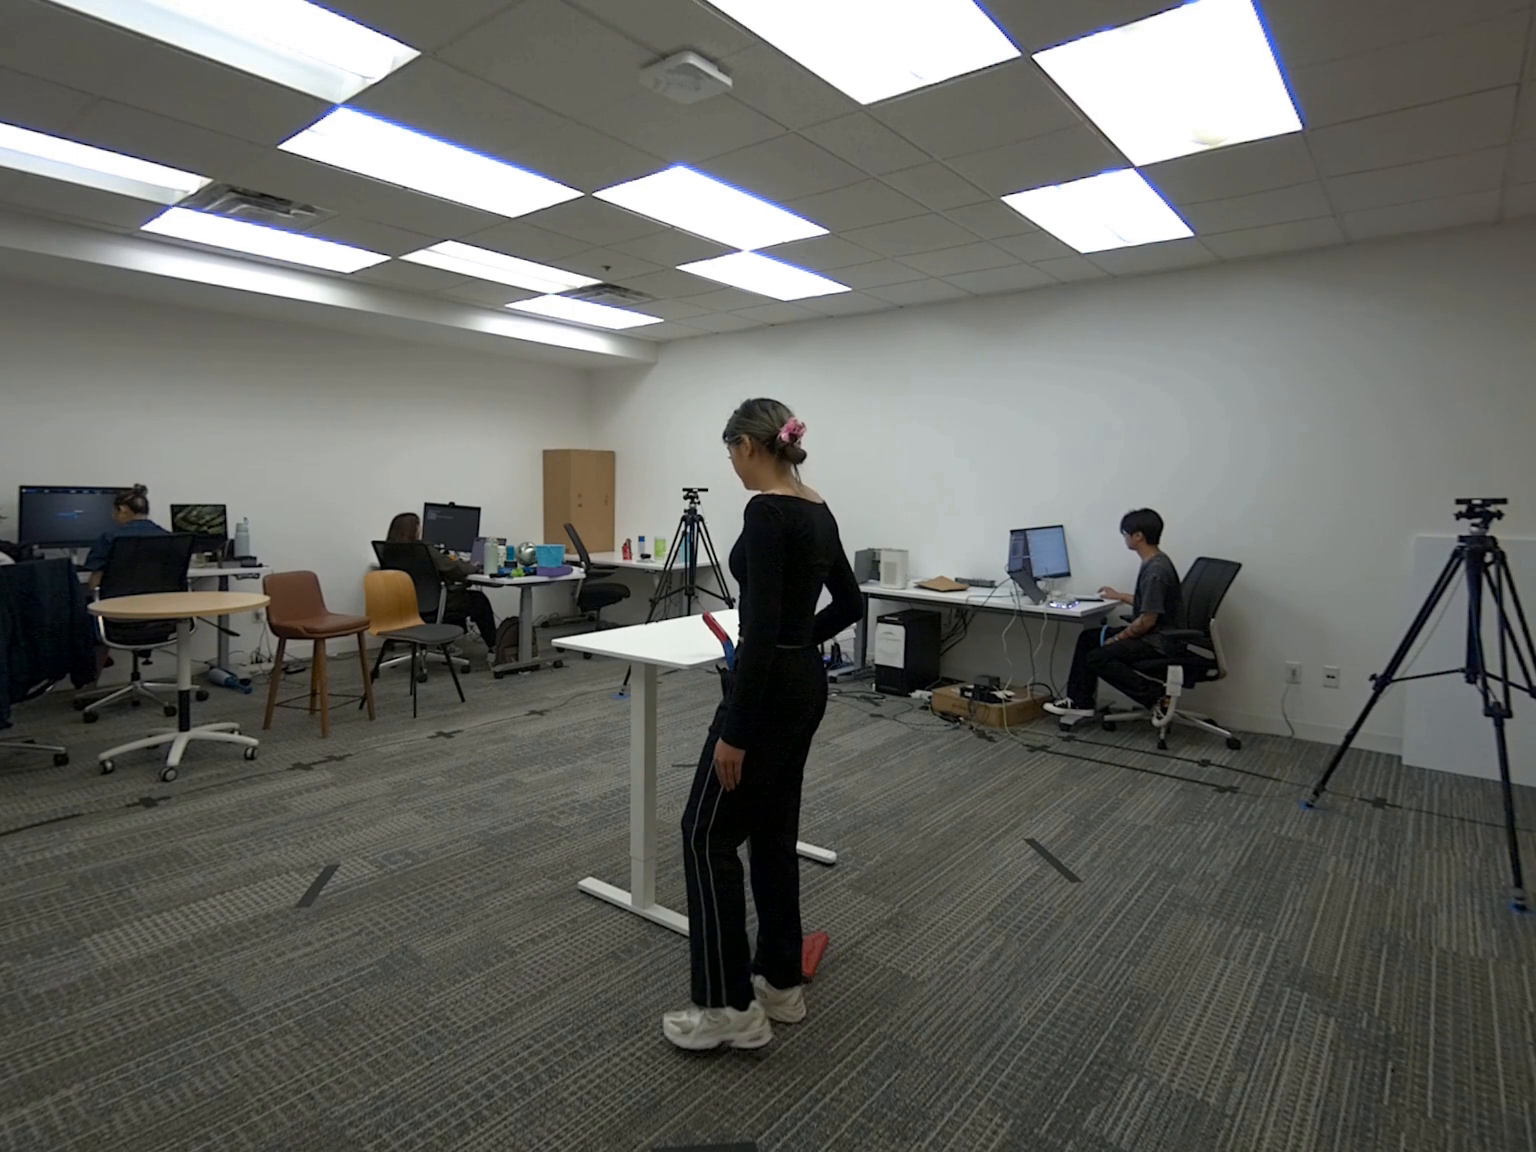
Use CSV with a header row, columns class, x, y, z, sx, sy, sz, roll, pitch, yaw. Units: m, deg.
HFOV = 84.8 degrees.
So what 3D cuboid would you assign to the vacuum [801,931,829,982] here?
class,x,y,z,sx,sy,sz,roll,pitch,yaw
vacuum,-0.051,0.624,2.557,0.147,1.053,0.247,-16,-3,30
